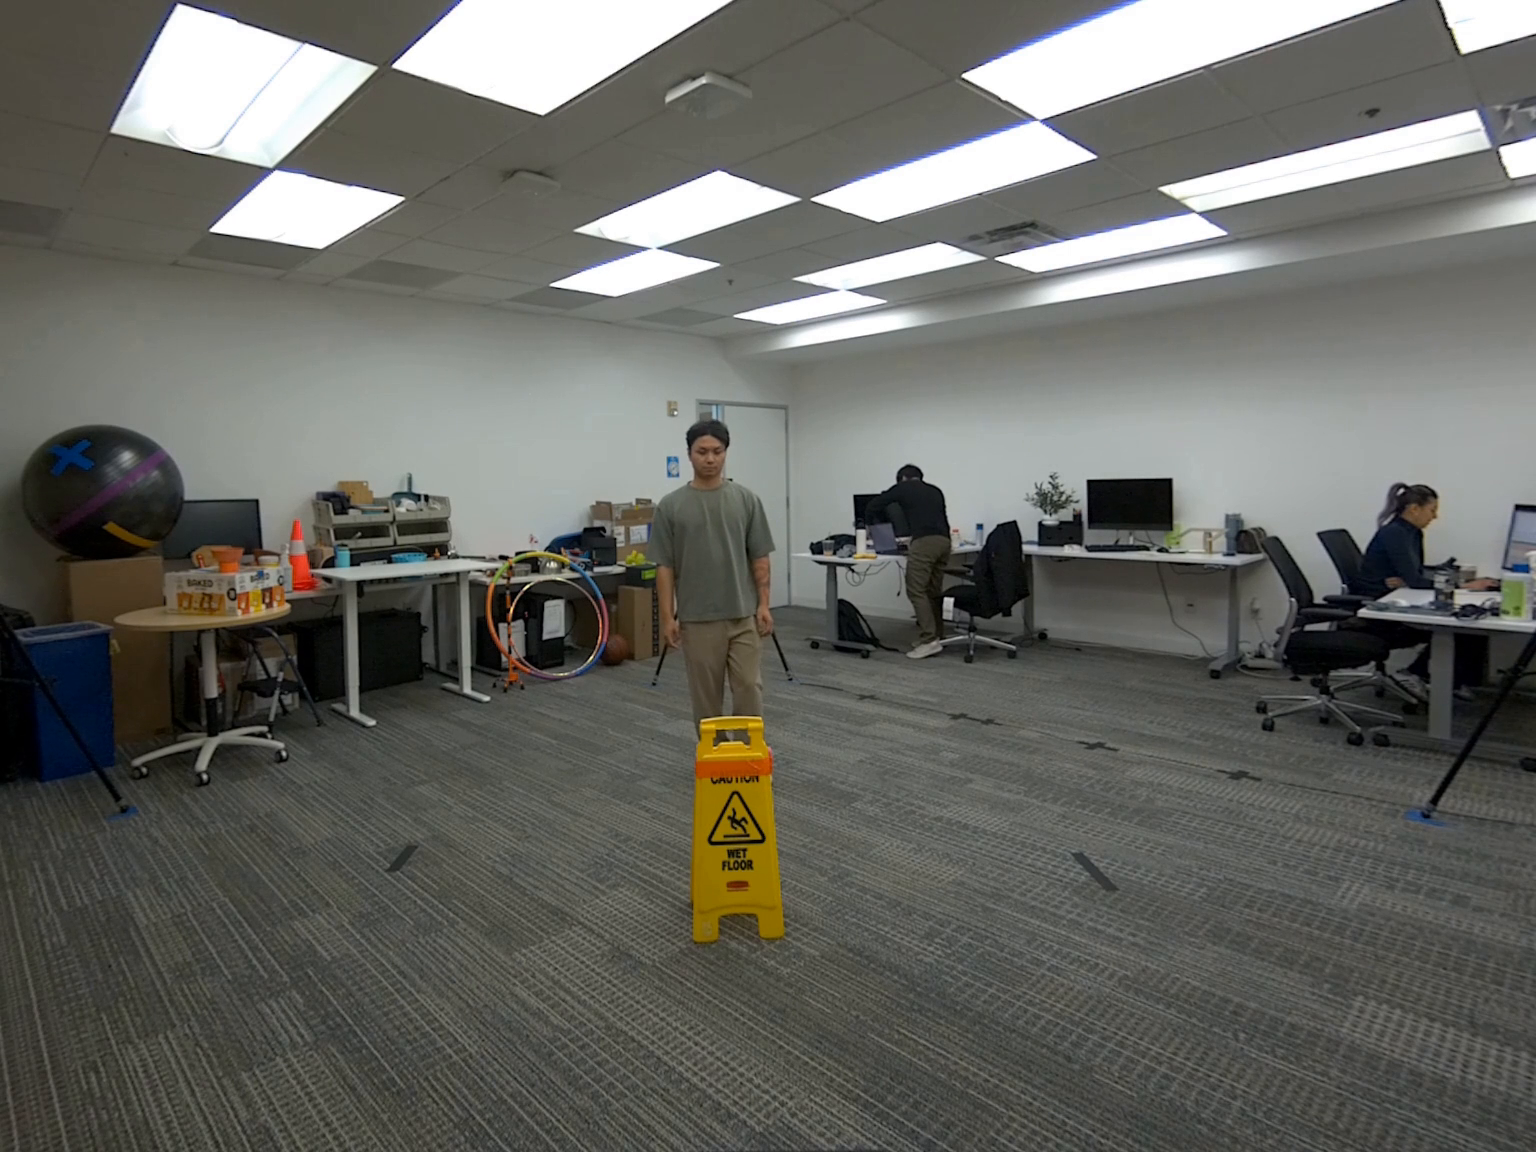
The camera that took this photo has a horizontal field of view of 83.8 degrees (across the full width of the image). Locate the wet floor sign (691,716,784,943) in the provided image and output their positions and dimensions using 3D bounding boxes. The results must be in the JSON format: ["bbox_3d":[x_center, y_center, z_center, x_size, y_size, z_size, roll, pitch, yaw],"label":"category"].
[{"bbox_3d":[-0.115,0.772,2.697,0.281,0.643,0.292,-3,5,-5],"label":"wet floor sign"}]
